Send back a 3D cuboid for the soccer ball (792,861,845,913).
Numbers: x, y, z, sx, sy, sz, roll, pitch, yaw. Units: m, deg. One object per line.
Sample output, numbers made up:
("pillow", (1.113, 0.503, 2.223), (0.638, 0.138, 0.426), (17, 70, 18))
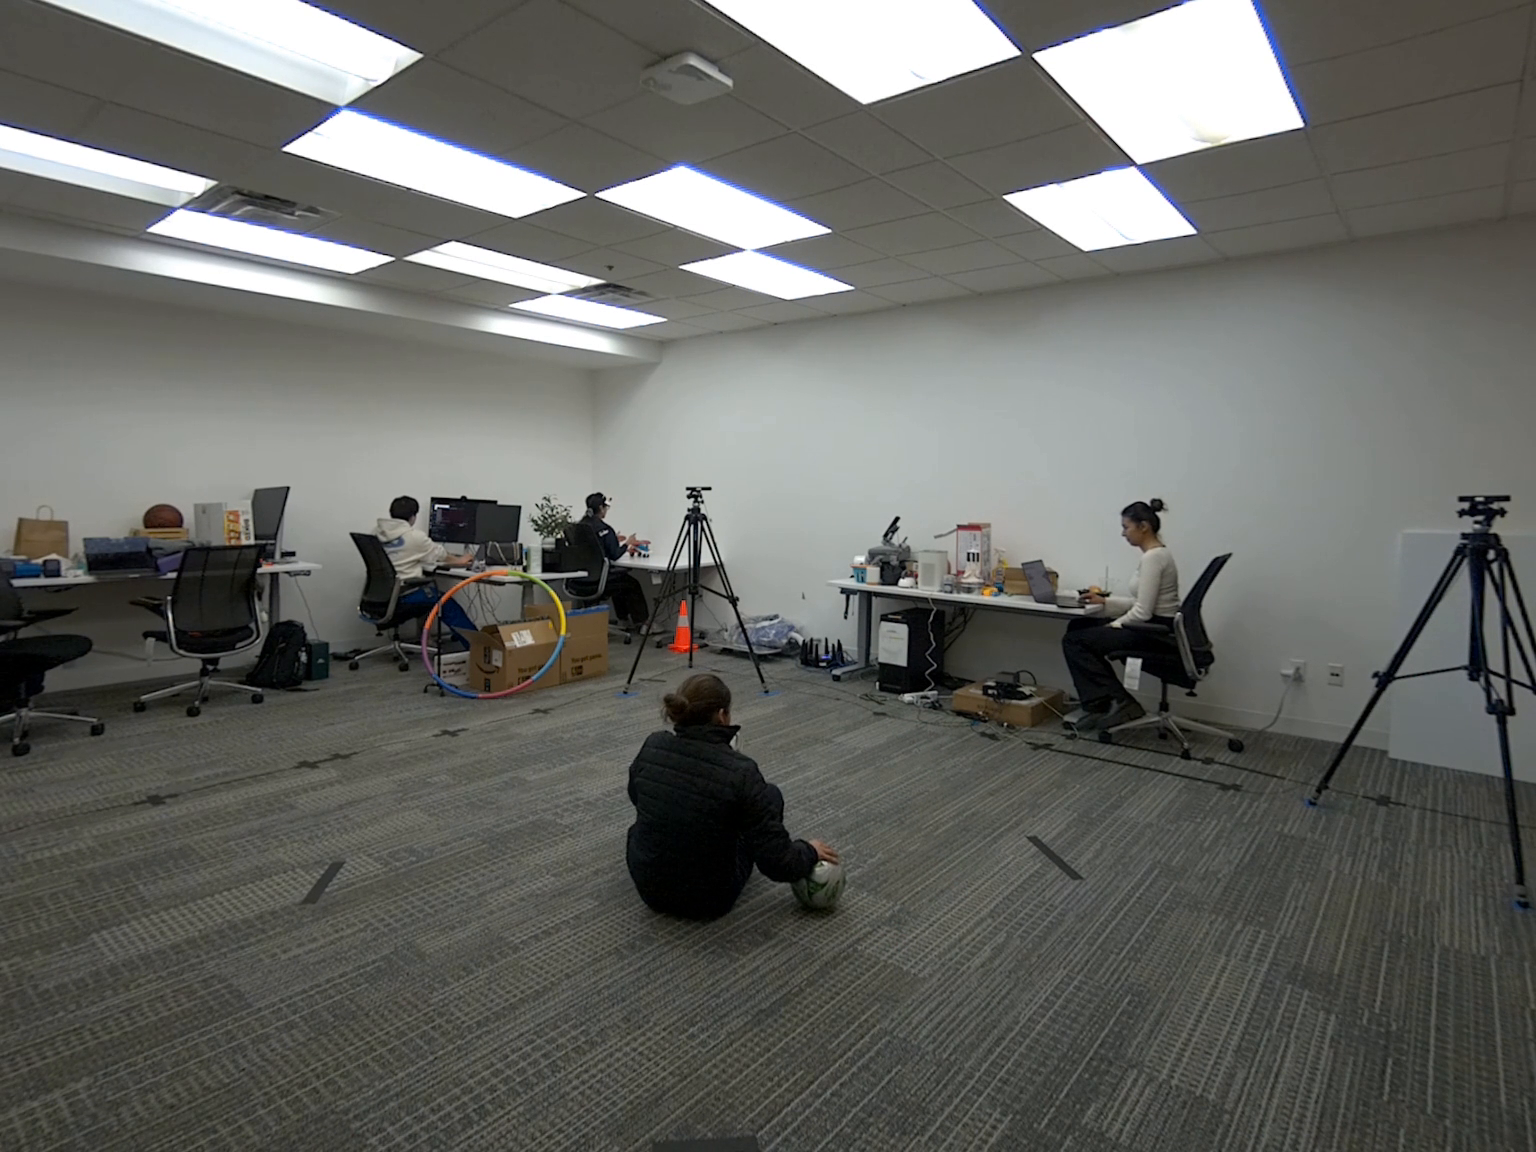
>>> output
("soccer ball", (0.159, 1.008, 2.833), (0.187, 0.187, 0.188), (1, 4, -2))
